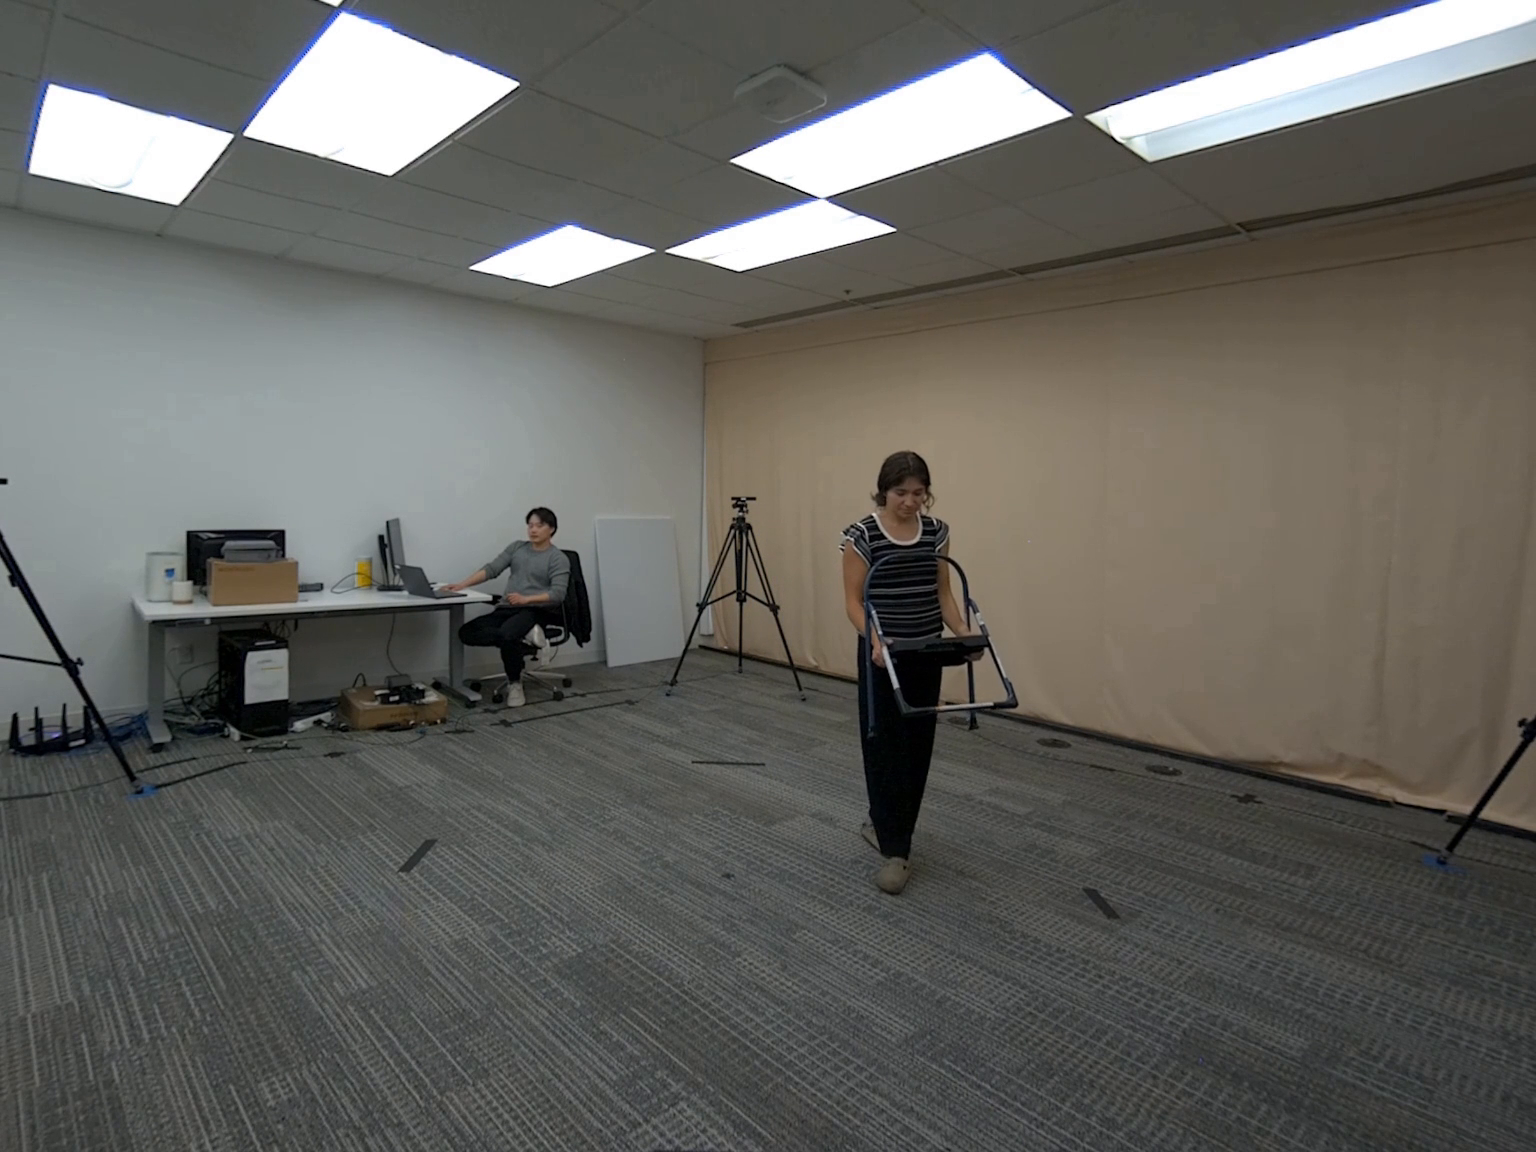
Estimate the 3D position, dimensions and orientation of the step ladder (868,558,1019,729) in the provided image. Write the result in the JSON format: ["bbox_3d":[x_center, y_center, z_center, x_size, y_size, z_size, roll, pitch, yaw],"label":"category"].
[{"bbox_3d":[0.541,0.228,3.010,0.426,0.617,0.347,-2,-23,-15],"label":"step ladder"}]
